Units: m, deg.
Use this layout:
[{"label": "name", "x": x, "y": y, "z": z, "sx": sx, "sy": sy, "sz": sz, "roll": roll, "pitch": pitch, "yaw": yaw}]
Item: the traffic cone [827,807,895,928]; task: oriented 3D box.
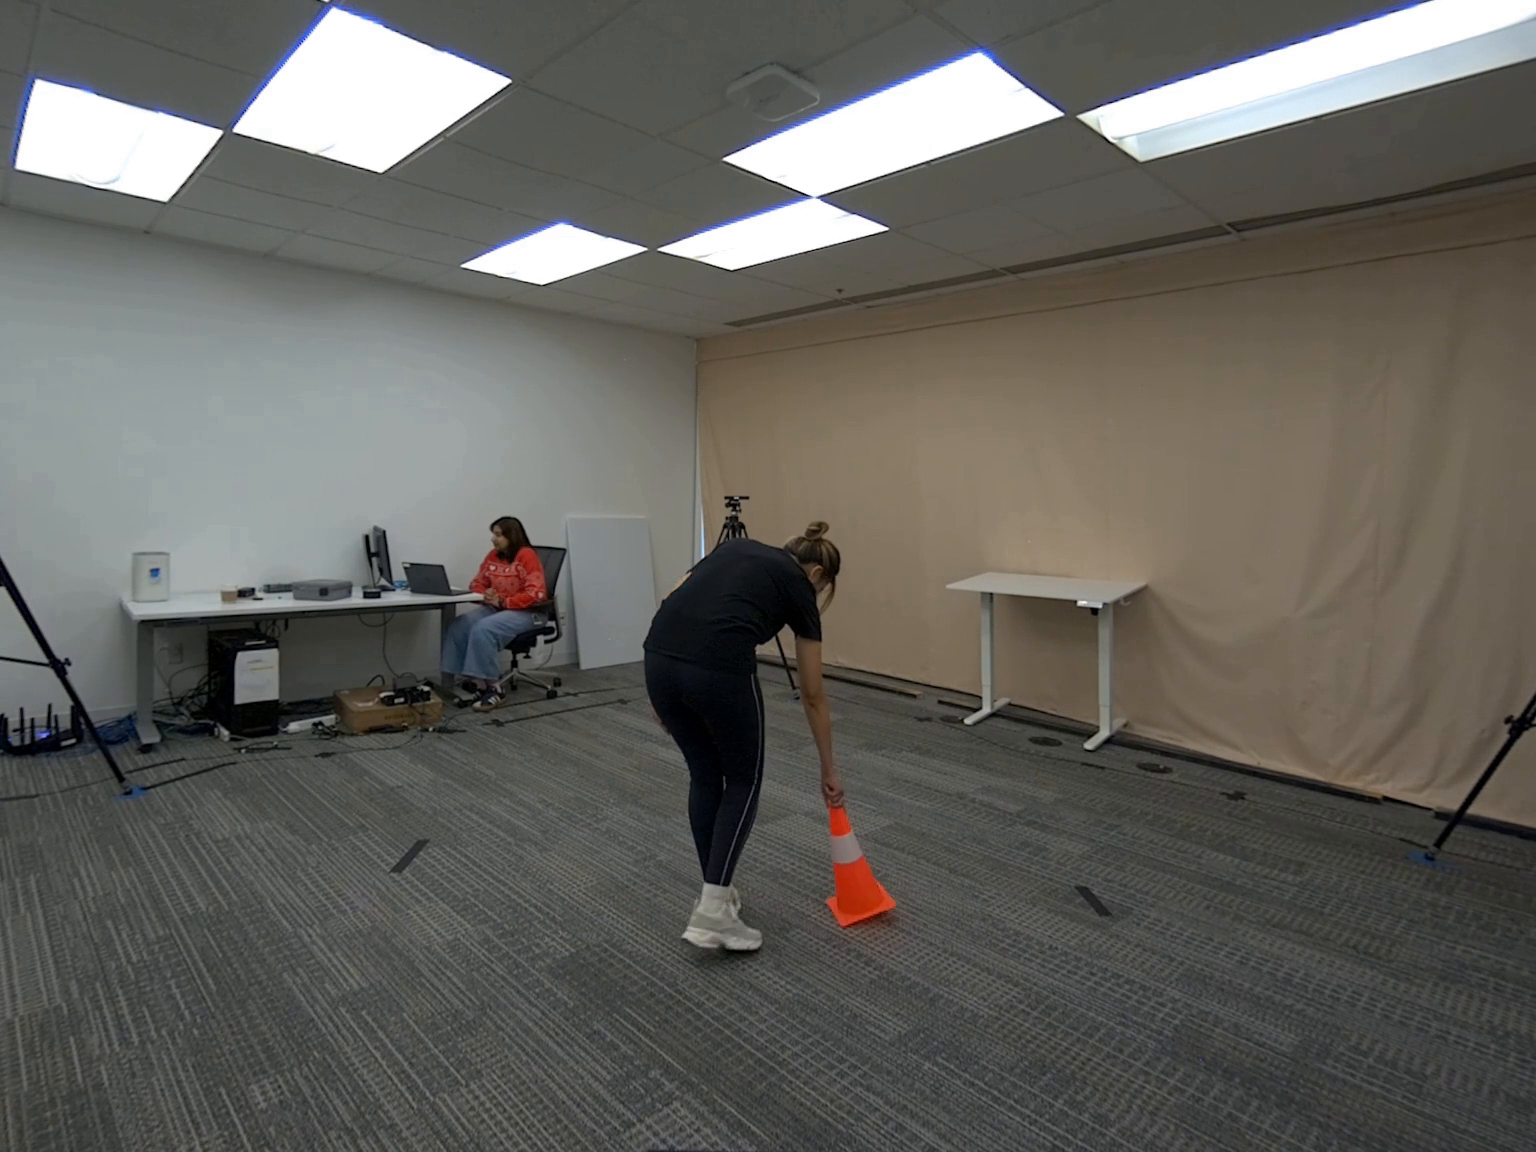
[{"label": "traffic cone", "x": 0.255, "y": 0.931, "z": 2.832, "sx": 0.204, "sy": 0.383, "sz": 0.204, "roll": -15, "pitch": 3, "yaw": -7}]
